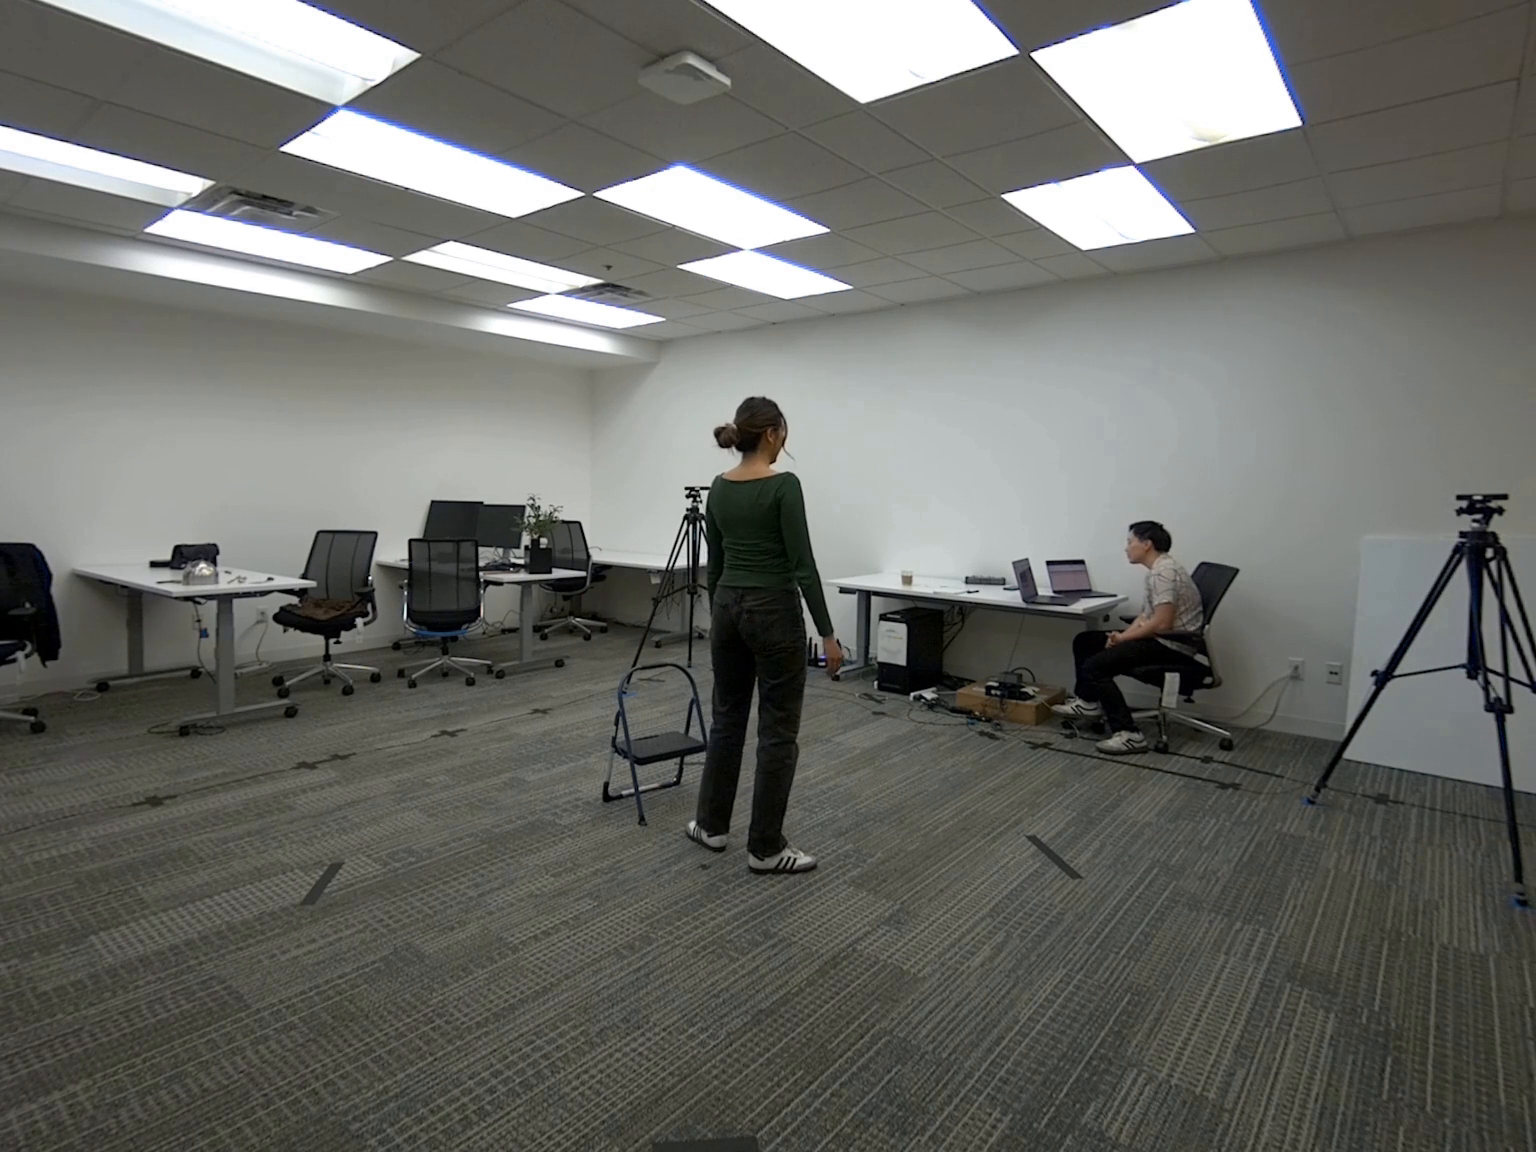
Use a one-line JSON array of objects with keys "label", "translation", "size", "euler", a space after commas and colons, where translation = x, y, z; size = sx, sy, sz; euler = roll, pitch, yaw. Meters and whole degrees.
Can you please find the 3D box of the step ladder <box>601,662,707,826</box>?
[{"label": "step ladder", "translation": [-0.476, 0.696, 3.739], "size": [0.418, 0.604, 0.361], "euler": [-2, 4, -39]}]
